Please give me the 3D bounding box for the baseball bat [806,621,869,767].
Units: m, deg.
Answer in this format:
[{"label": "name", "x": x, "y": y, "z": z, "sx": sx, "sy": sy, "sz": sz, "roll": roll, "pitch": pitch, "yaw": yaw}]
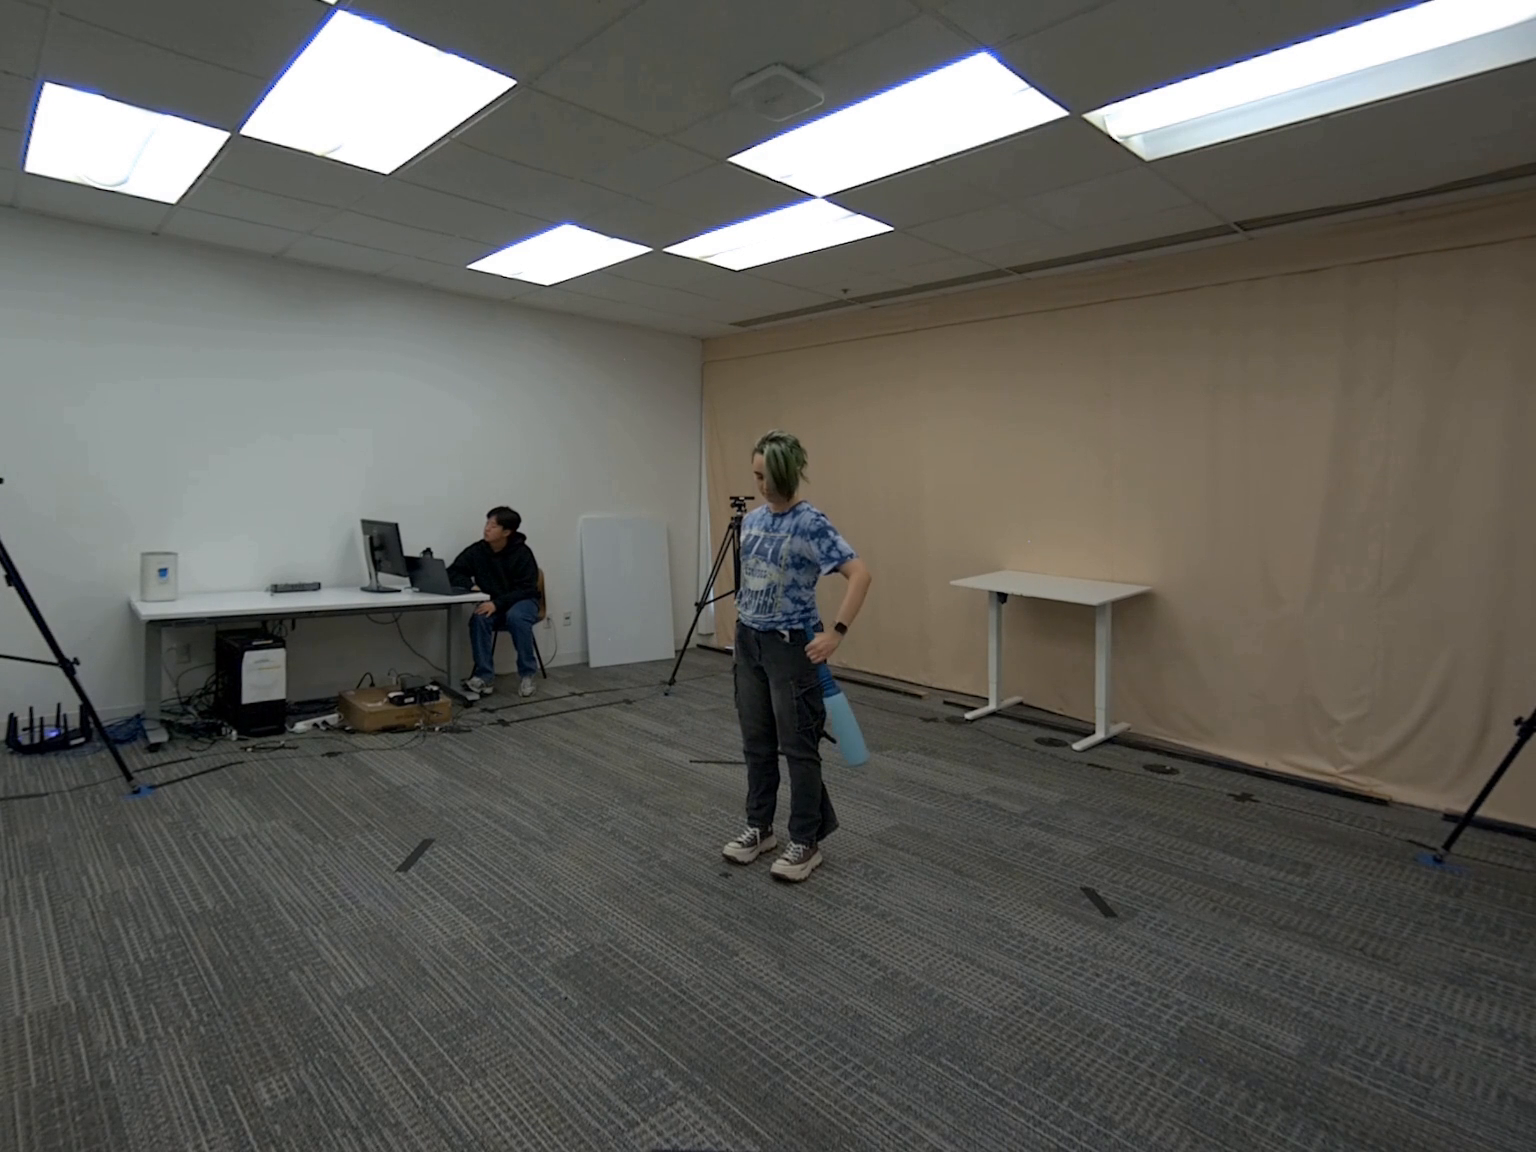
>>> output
[{"label": "baseball bat", "x": 0.200, "y": 0.387, "z": 2.892, "sx": 0.089, "sy": 0.547, "sz": 0.088, "roll": -20, "pitch": -7, "yaw": -3}]
